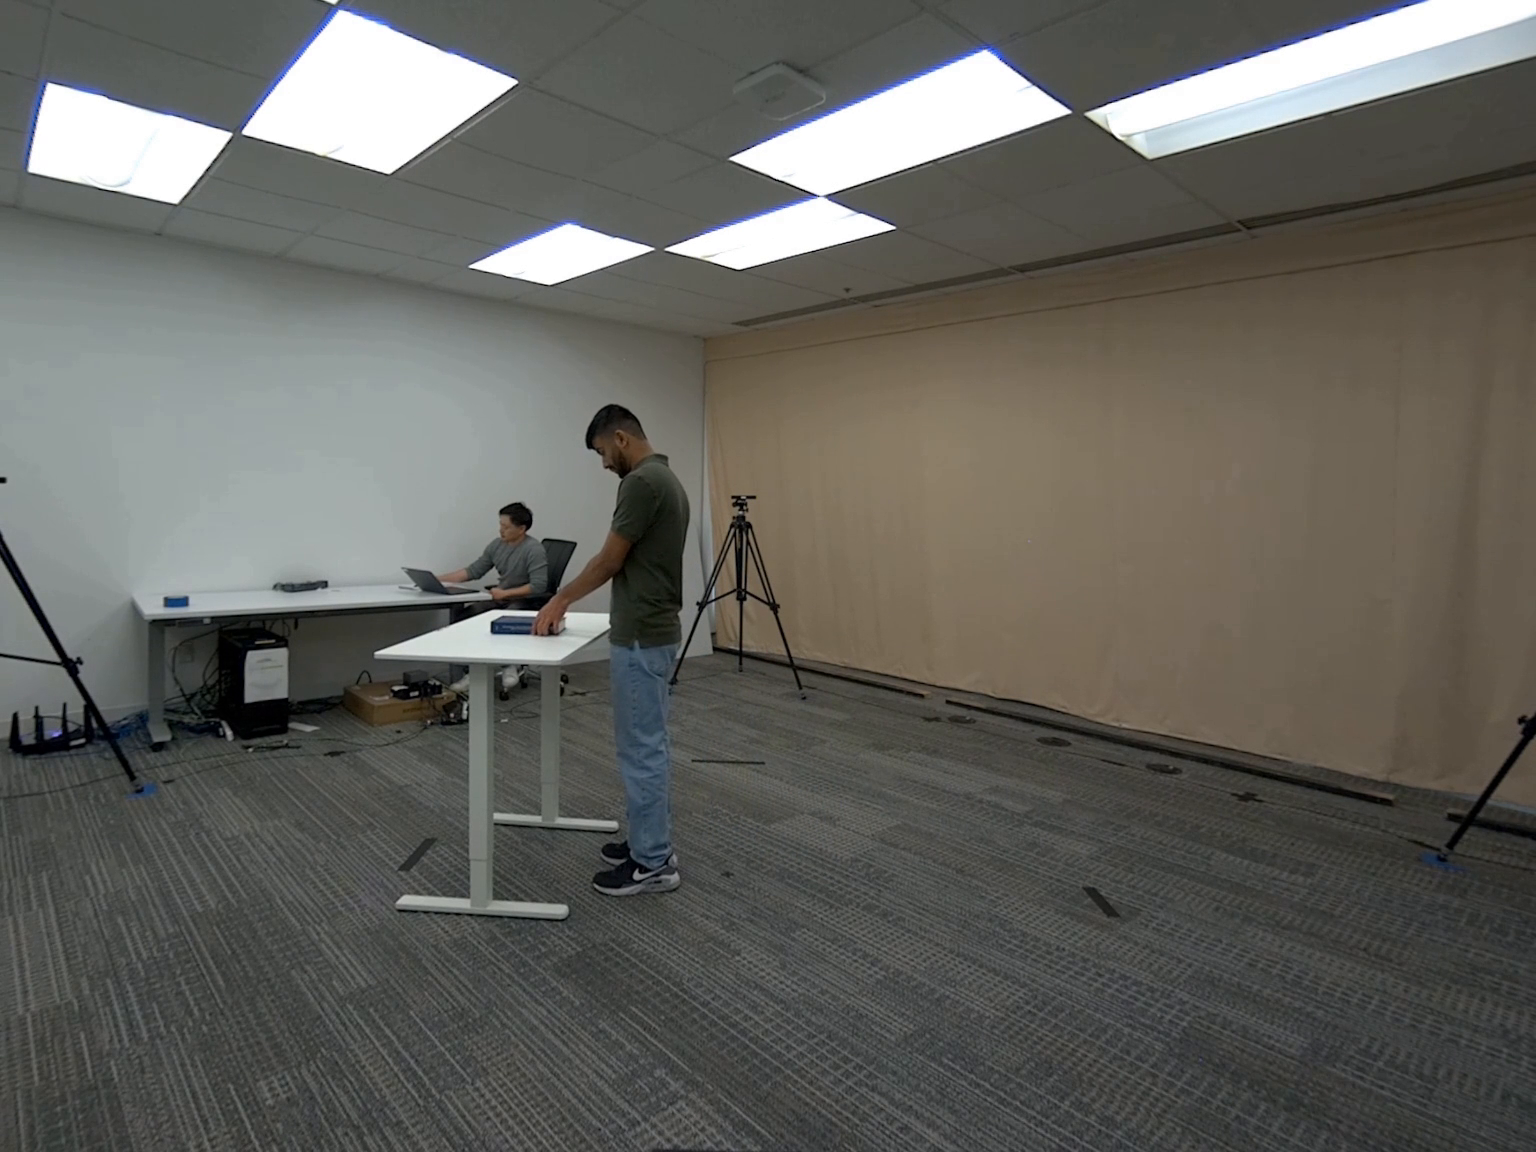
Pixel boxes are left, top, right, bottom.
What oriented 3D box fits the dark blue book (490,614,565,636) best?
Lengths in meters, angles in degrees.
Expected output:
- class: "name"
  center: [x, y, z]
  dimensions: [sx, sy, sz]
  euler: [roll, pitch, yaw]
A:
- class: "dark blue book"
  center: [-0.879, 0.181, 3.103]
  dimensions: [0.245, 0.045, 0.164]
  euler: [1, 5, 0]
